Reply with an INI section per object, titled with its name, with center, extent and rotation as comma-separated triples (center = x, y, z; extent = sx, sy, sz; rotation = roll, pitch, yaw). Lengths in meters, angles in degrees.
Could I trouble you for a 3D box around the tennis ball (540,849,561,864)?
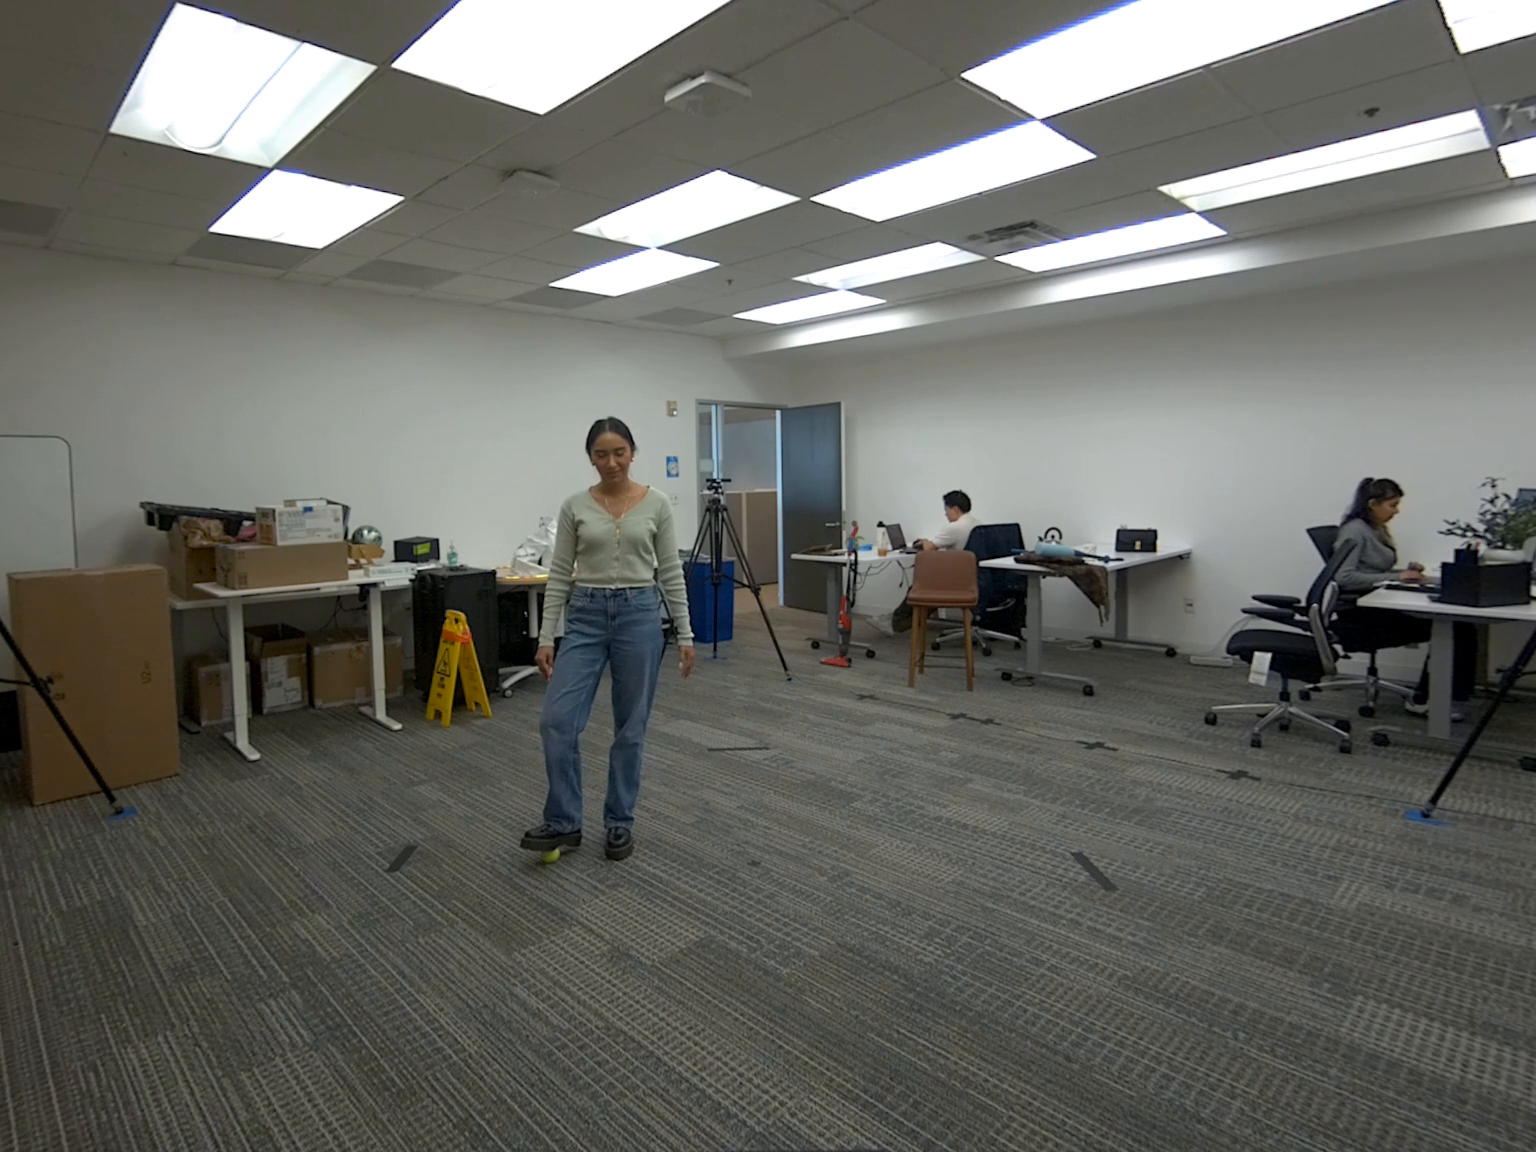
[tennis ball]
center = -0.809, 1.040, 3.150
extent = 0.066, 0.066, 0.067
rotation = -1, 5, -2
